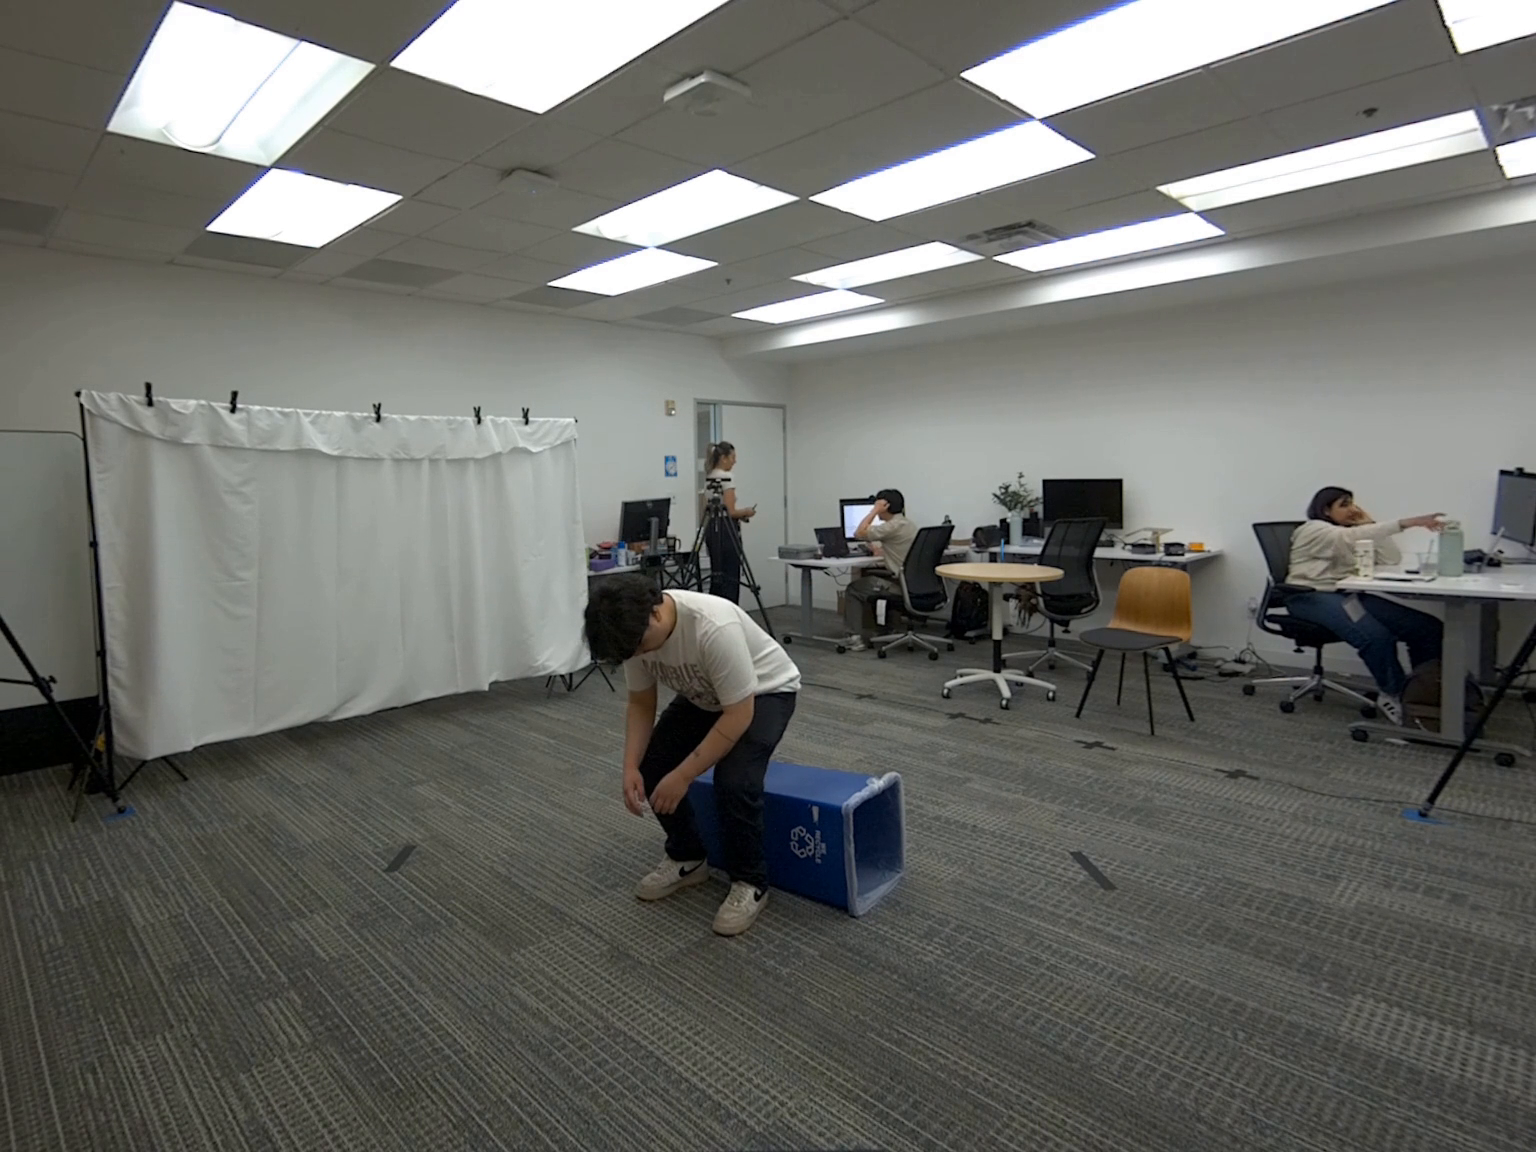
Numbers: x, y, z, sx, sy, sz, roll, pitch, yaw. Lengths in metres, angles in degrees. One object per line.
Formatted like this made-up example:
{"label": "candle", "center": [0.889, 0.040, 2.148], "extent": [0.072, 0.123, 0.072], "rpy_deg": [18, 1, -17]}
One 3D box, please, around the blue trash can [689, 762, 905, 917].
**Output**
{"label": "blue trash can", "center": [0.080, 0.882, 3.049], "extent": [0.733, 0.373, 0.369], "rpy_deg": [0, 5, 36]}
